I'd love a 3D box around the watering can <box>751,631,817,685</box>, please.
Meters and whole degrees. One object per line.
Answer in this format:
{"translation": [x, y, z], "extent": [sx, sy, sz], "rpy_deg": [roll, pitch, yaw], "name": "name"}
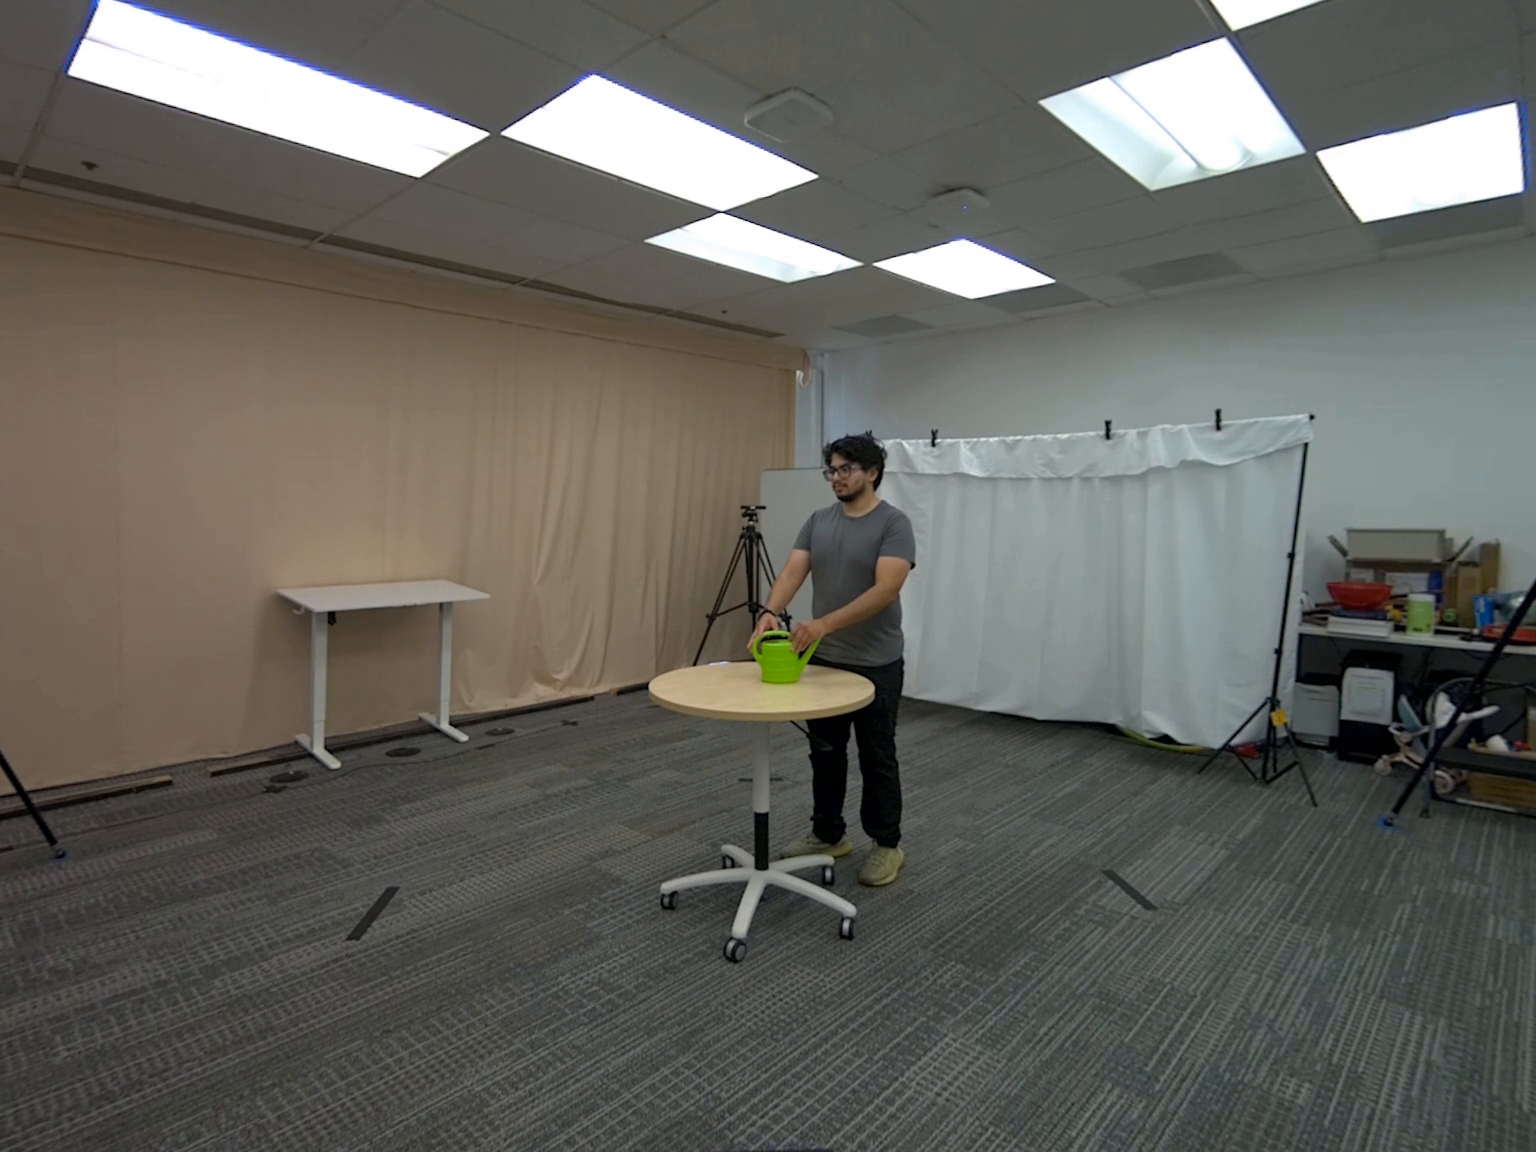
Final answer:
{"translation": [0.086, 0.283, 2.910], "extent": [0.281, 0.176, 0.097], "rpy_deg": [-1, 2, 10], "name": "watering can"}
